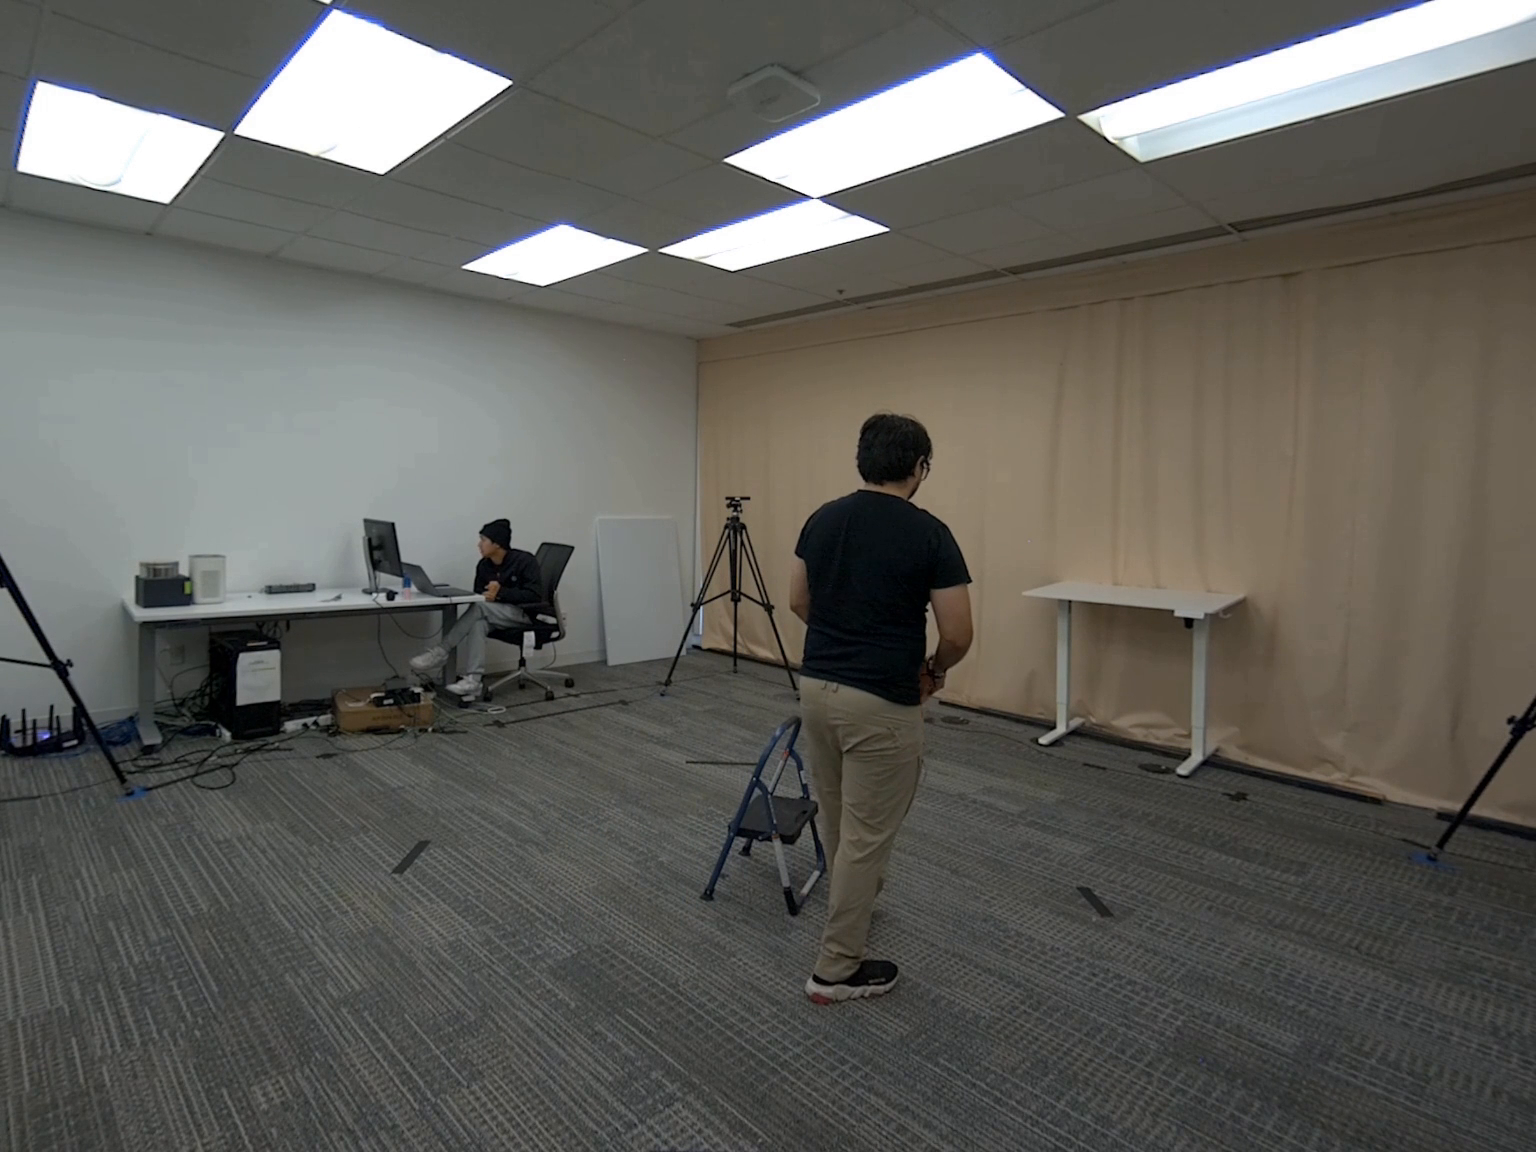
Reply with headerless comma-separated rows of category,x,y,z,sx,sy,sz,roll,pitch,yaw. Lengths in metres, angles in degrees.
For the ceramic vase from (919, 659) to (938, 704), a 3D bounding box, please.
ceramic vase,0.435,0.376,2.622,0.132,0.220,0.162,4,1,-24
